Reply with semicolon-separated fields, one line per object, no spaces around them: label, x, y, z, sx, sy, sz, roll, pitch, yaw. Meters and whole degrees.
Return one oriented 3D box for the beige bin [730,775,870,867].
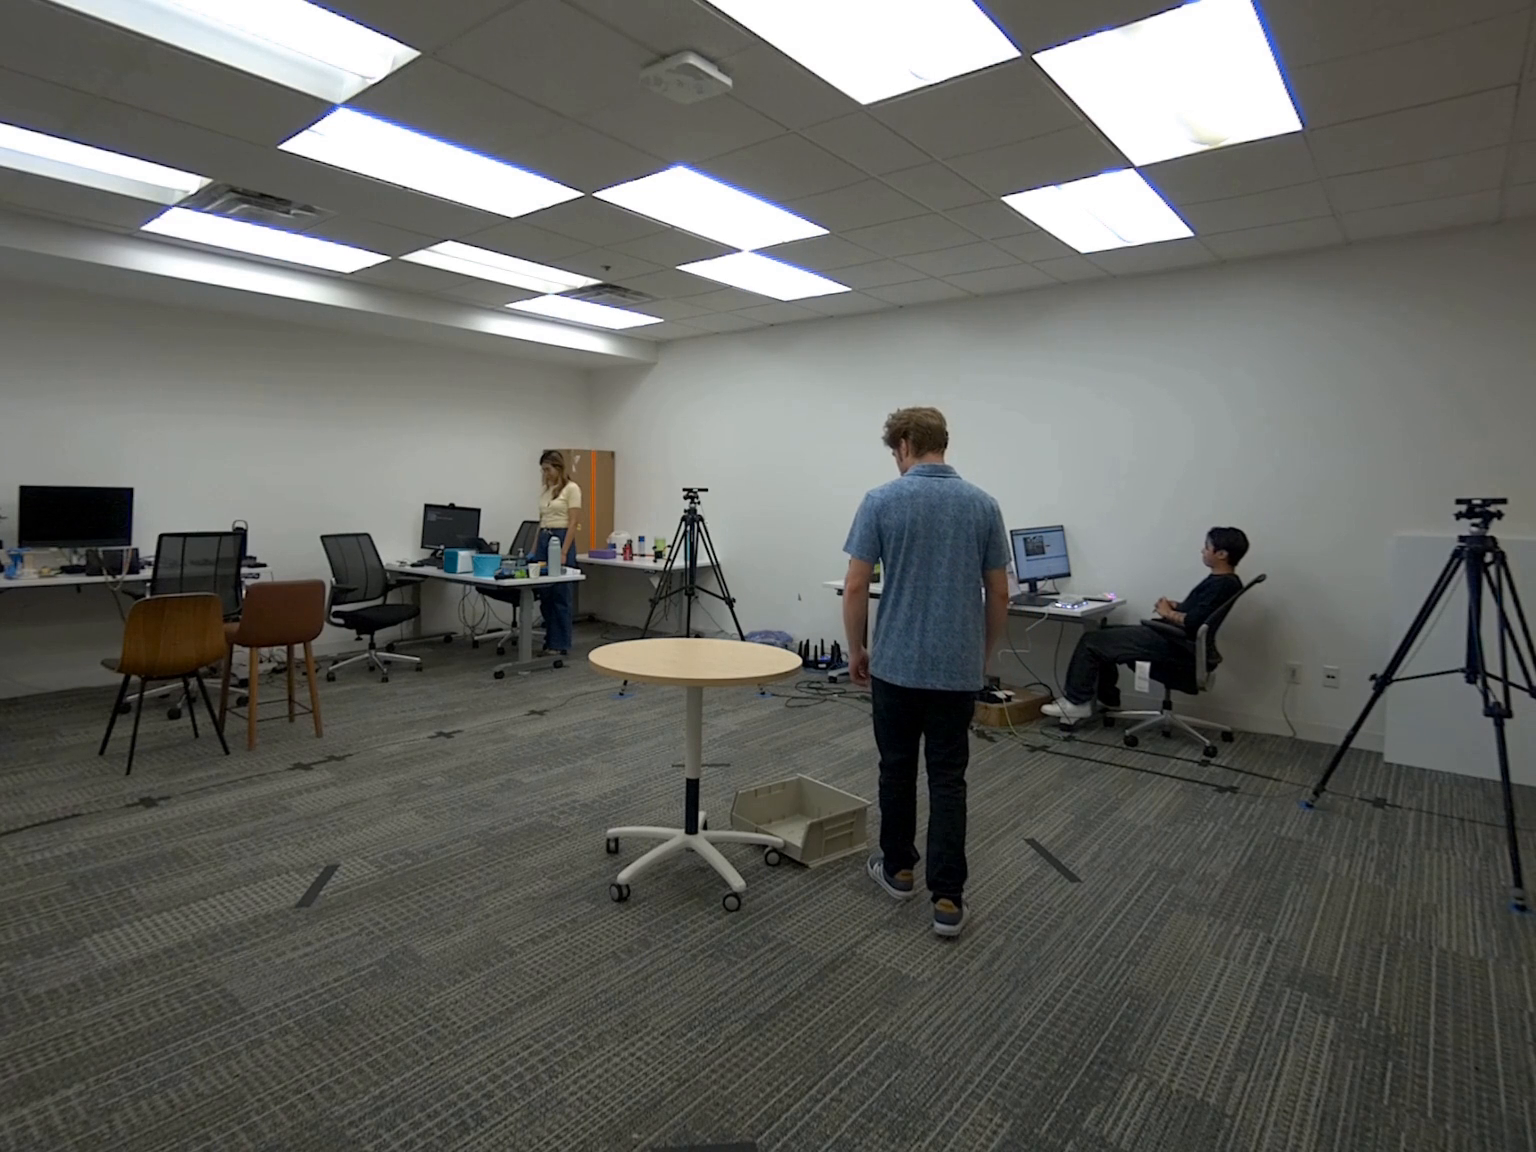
beige bin;0.118;0.965;3.378;0.366;0.188;0.437;-2;5;-40
